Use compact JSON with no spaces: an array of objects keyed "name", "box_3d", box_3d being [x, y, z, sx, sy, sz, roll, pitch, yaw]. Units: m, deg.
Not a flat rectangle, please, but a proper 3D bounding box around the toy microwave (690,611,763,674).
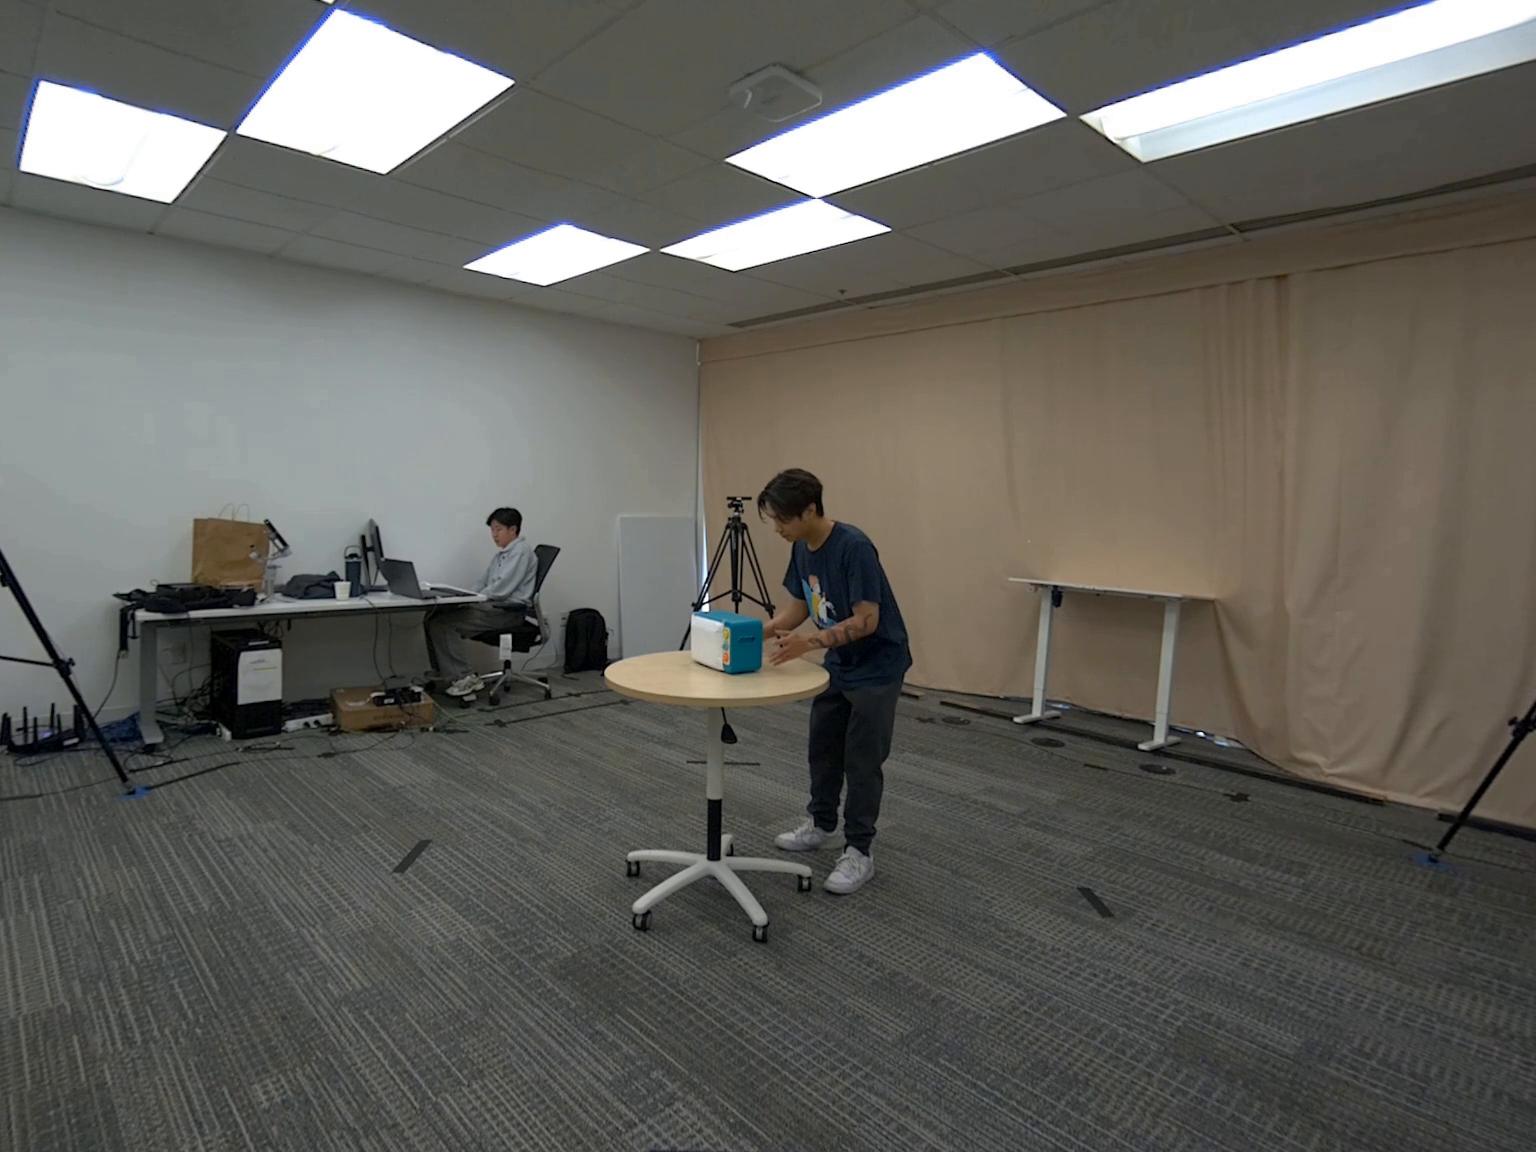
[{"name":"toy microwave","box_3d":[-0.153,0.226,2.953,0.149,0.183,0.293,-2,6,-34]}]
